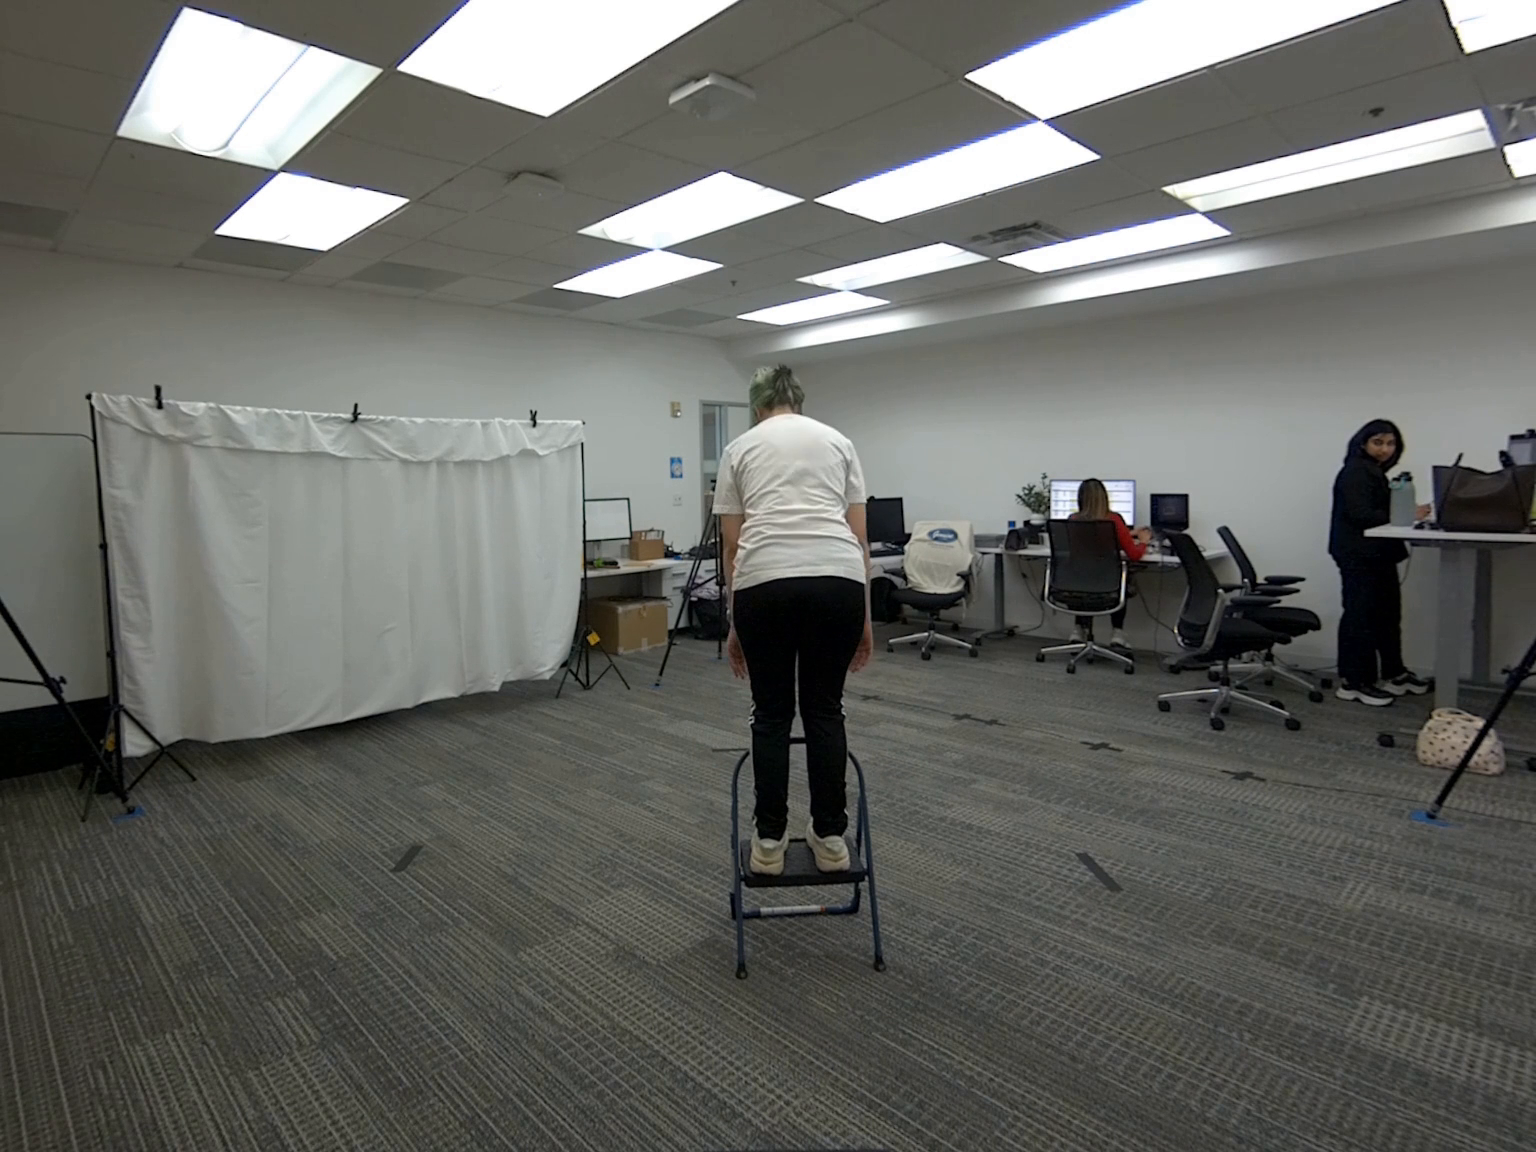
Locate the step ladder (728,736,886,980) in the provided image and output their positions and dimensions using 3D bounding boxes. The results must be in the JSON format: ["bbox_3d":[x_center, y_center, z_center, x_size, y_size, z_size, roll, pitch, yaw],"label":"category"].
[{"bbox_3d":[0.103,0.809,2.565,0.429,0.603,0.352,-2,5,-5],"label":"step ladder"}]
